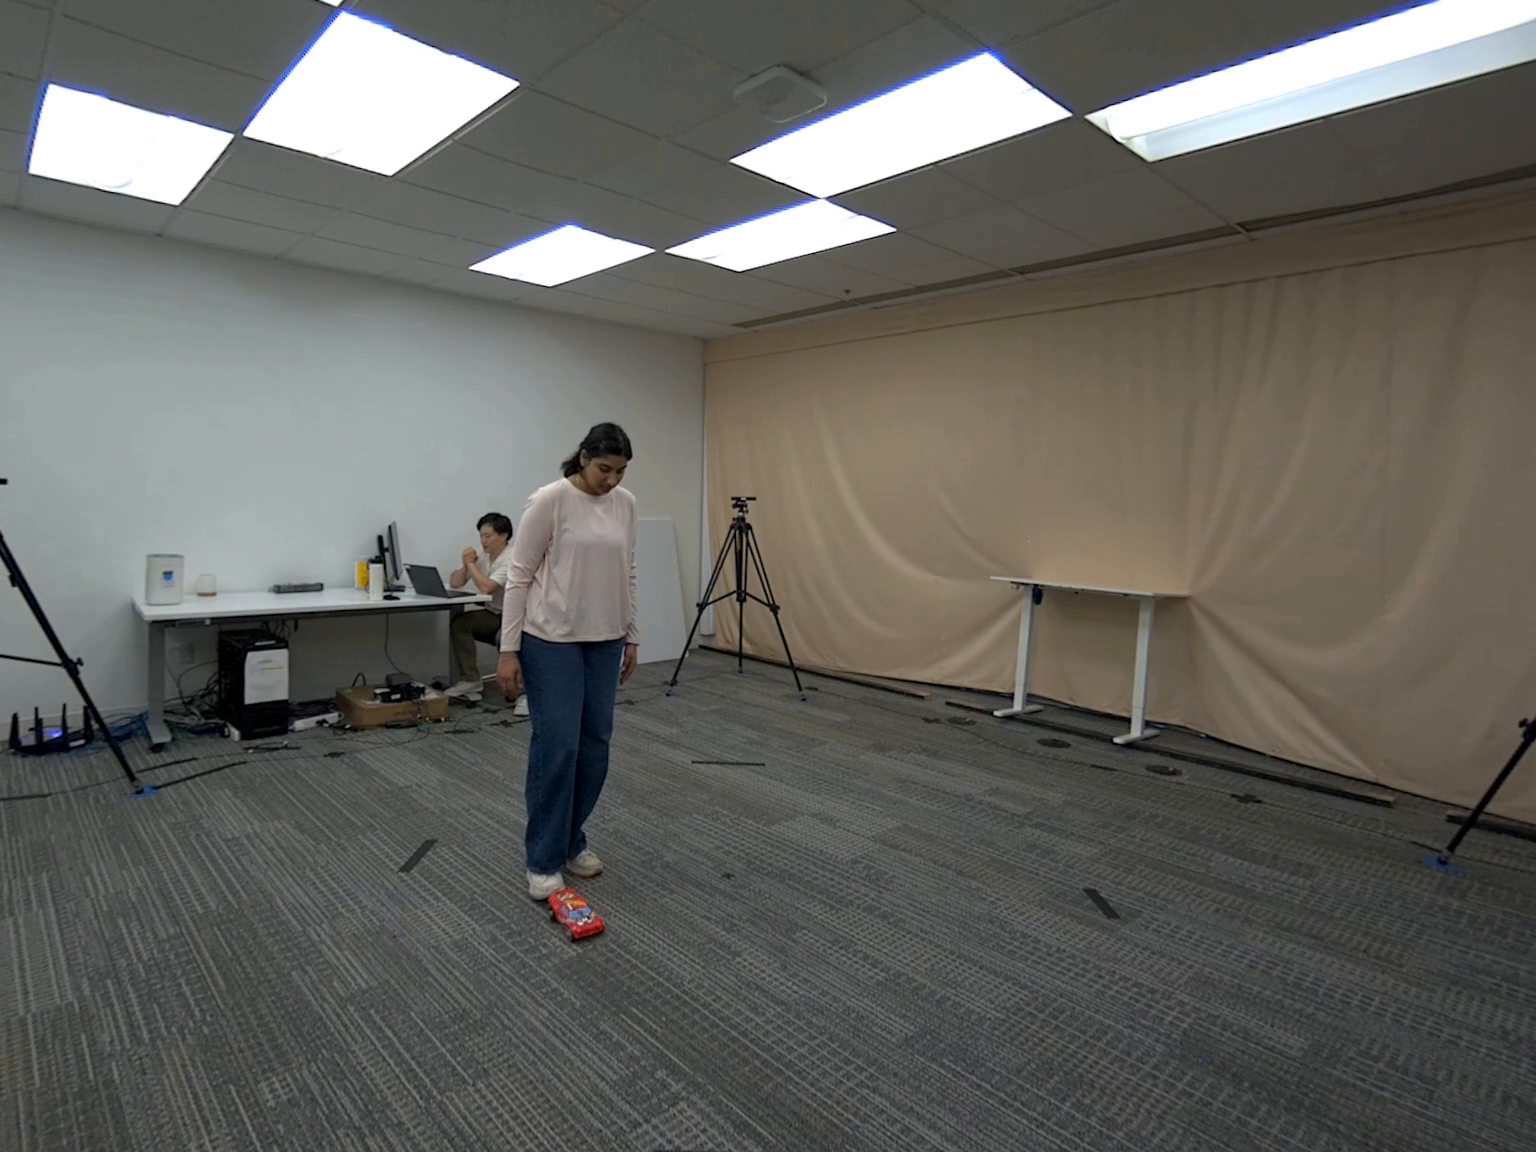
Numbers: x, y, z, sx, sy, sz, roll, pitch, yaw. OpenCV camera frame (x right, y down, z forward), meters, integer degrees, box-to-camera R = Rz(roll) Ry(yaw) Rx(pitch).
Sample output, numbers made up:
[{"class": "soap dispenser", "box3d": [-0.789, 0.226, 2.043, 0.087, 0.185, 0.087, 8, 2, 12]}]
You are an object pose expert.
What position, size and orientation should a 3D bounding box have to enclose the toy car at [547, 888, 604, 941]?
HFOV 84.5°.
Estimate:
[{"class": "toy car", "box3d": [-0.634, 1.099, 2.723, 0.127, 0.082, 0.262, -3, 18, -33]}]
